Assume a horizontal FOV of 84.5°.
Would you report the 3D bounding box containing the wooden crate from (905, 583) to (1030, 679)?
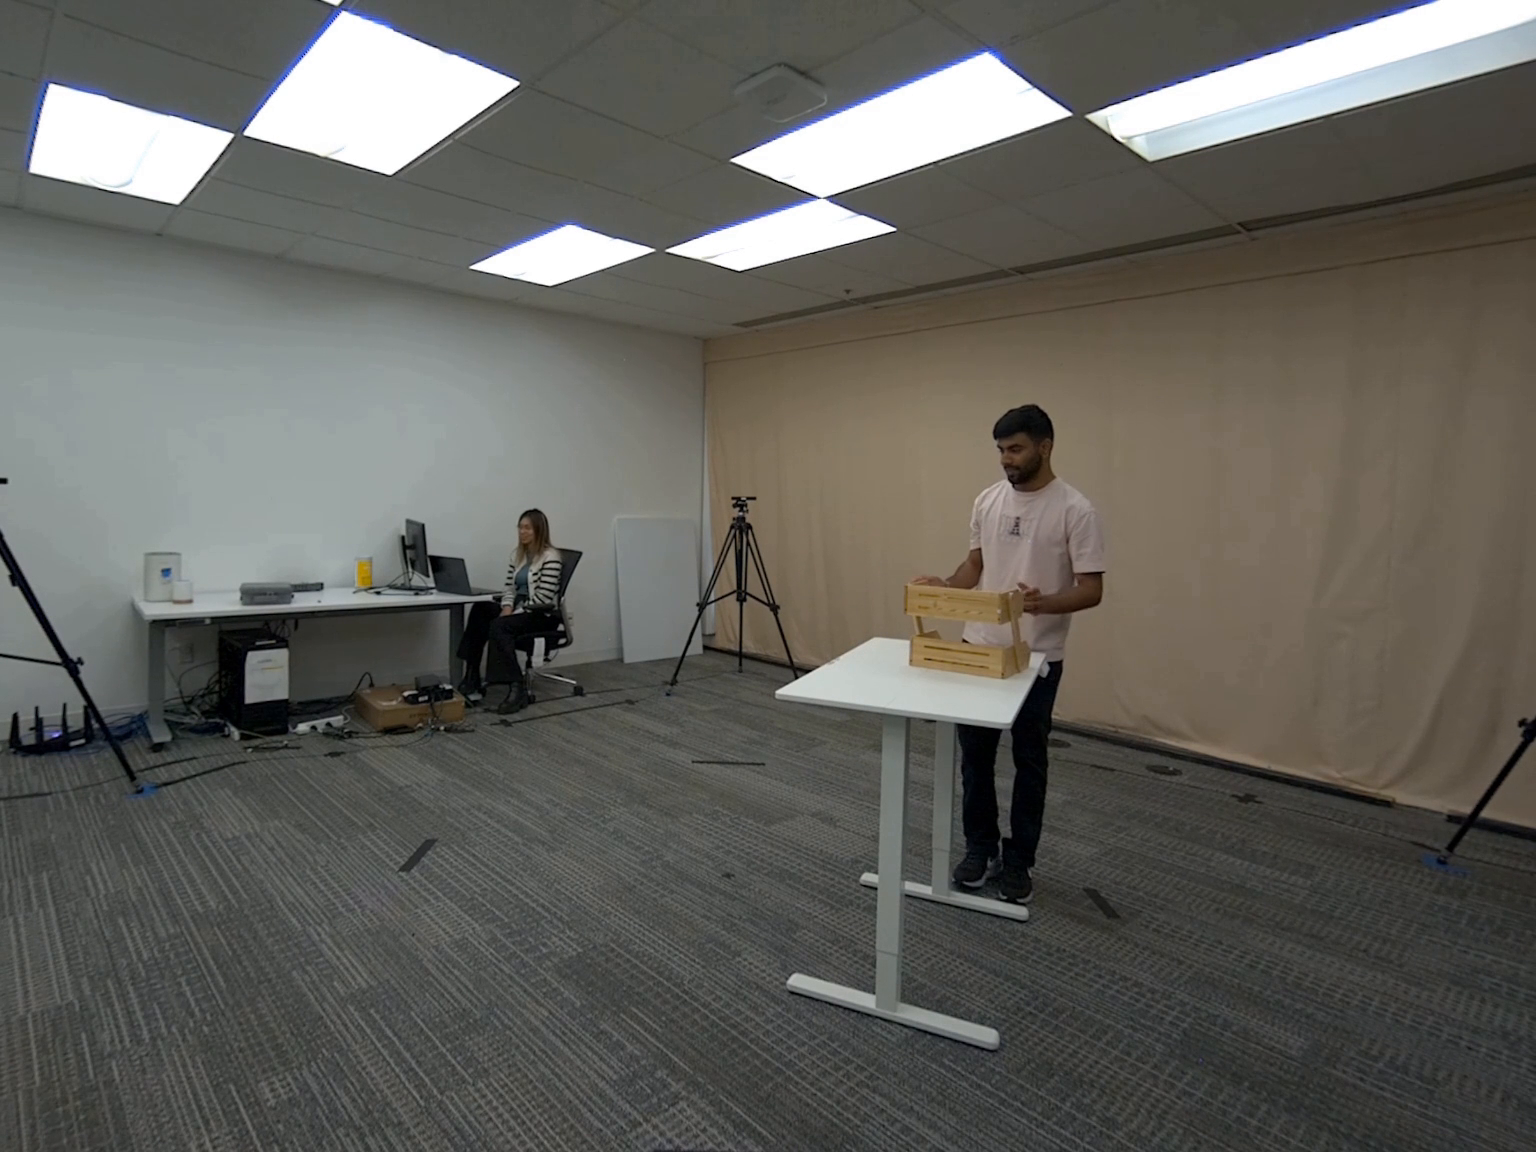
[{"bbox_3d":[0.619,0.155,2.622,0.332,0.272,0.296,4,6,34],"label":"wooden crate"}]
